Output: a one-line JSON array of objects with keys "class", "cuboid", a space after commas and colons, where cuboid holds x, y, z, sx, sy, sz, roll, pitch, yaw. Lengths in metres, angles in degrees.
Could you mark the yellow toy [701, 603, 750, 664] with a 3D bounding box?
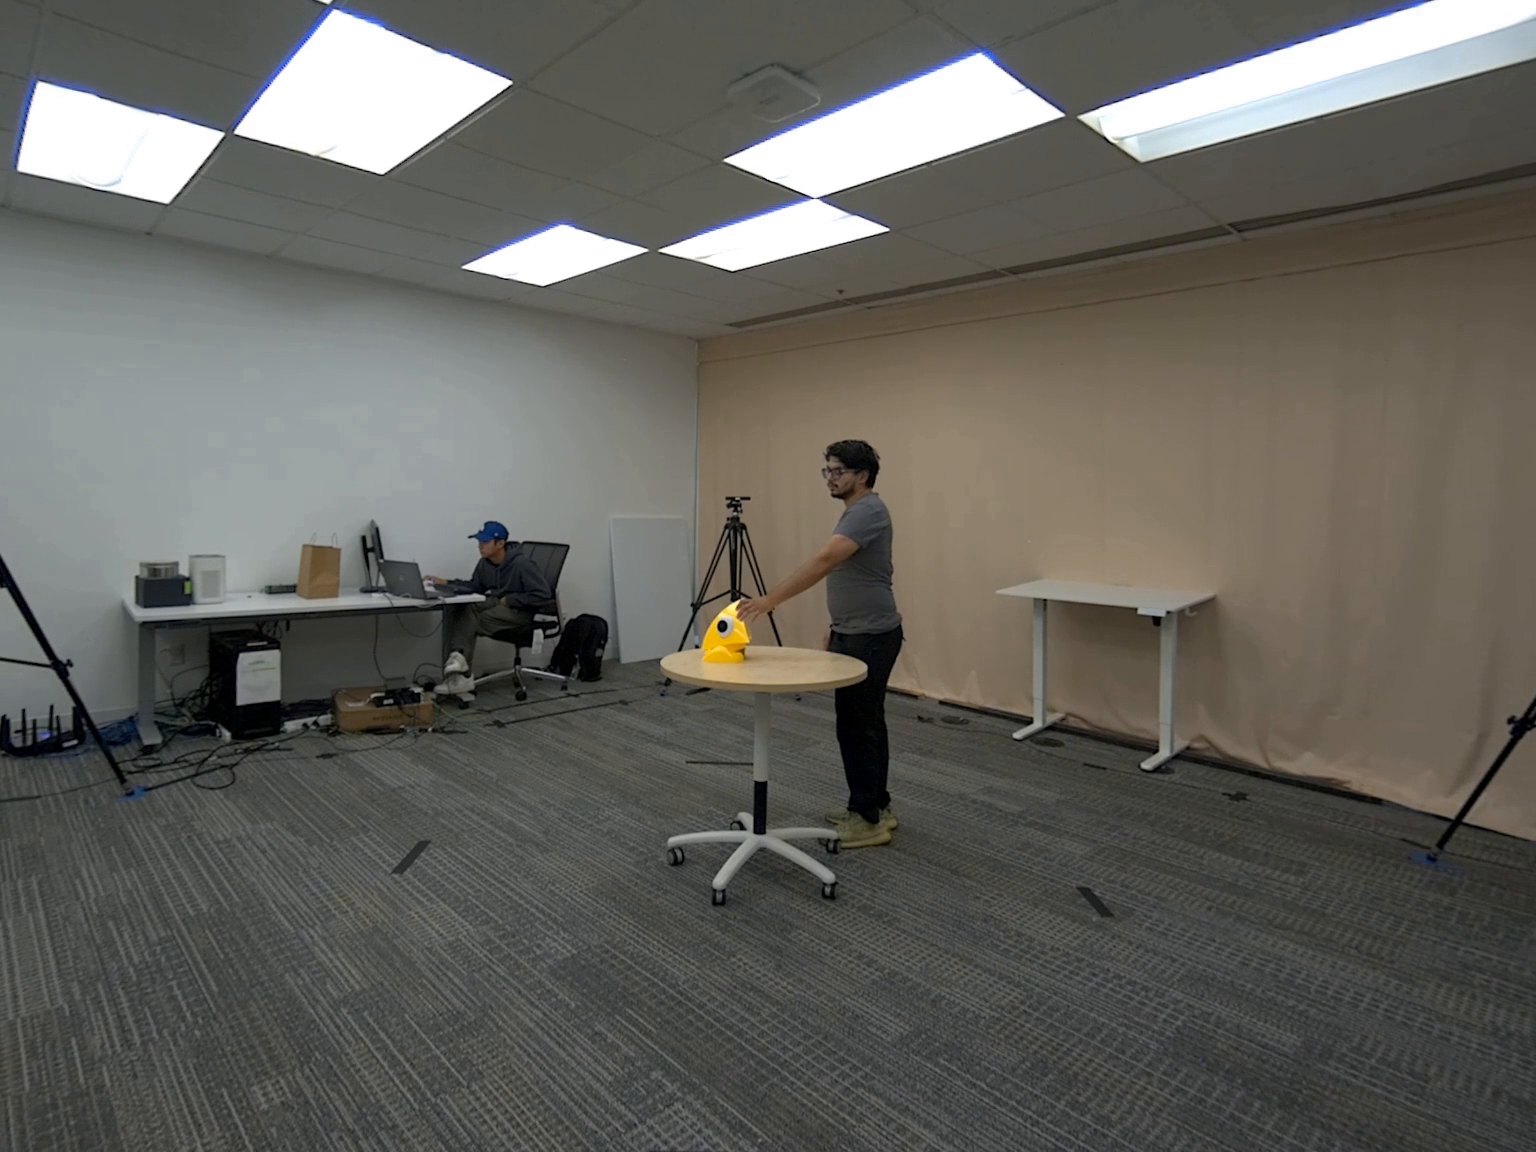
[{"class": "yellow toy", "cuboid": [-0.161, 0.200, 3.210, 0.193, 0.230, 0.205, 3, 5, 2]}]
